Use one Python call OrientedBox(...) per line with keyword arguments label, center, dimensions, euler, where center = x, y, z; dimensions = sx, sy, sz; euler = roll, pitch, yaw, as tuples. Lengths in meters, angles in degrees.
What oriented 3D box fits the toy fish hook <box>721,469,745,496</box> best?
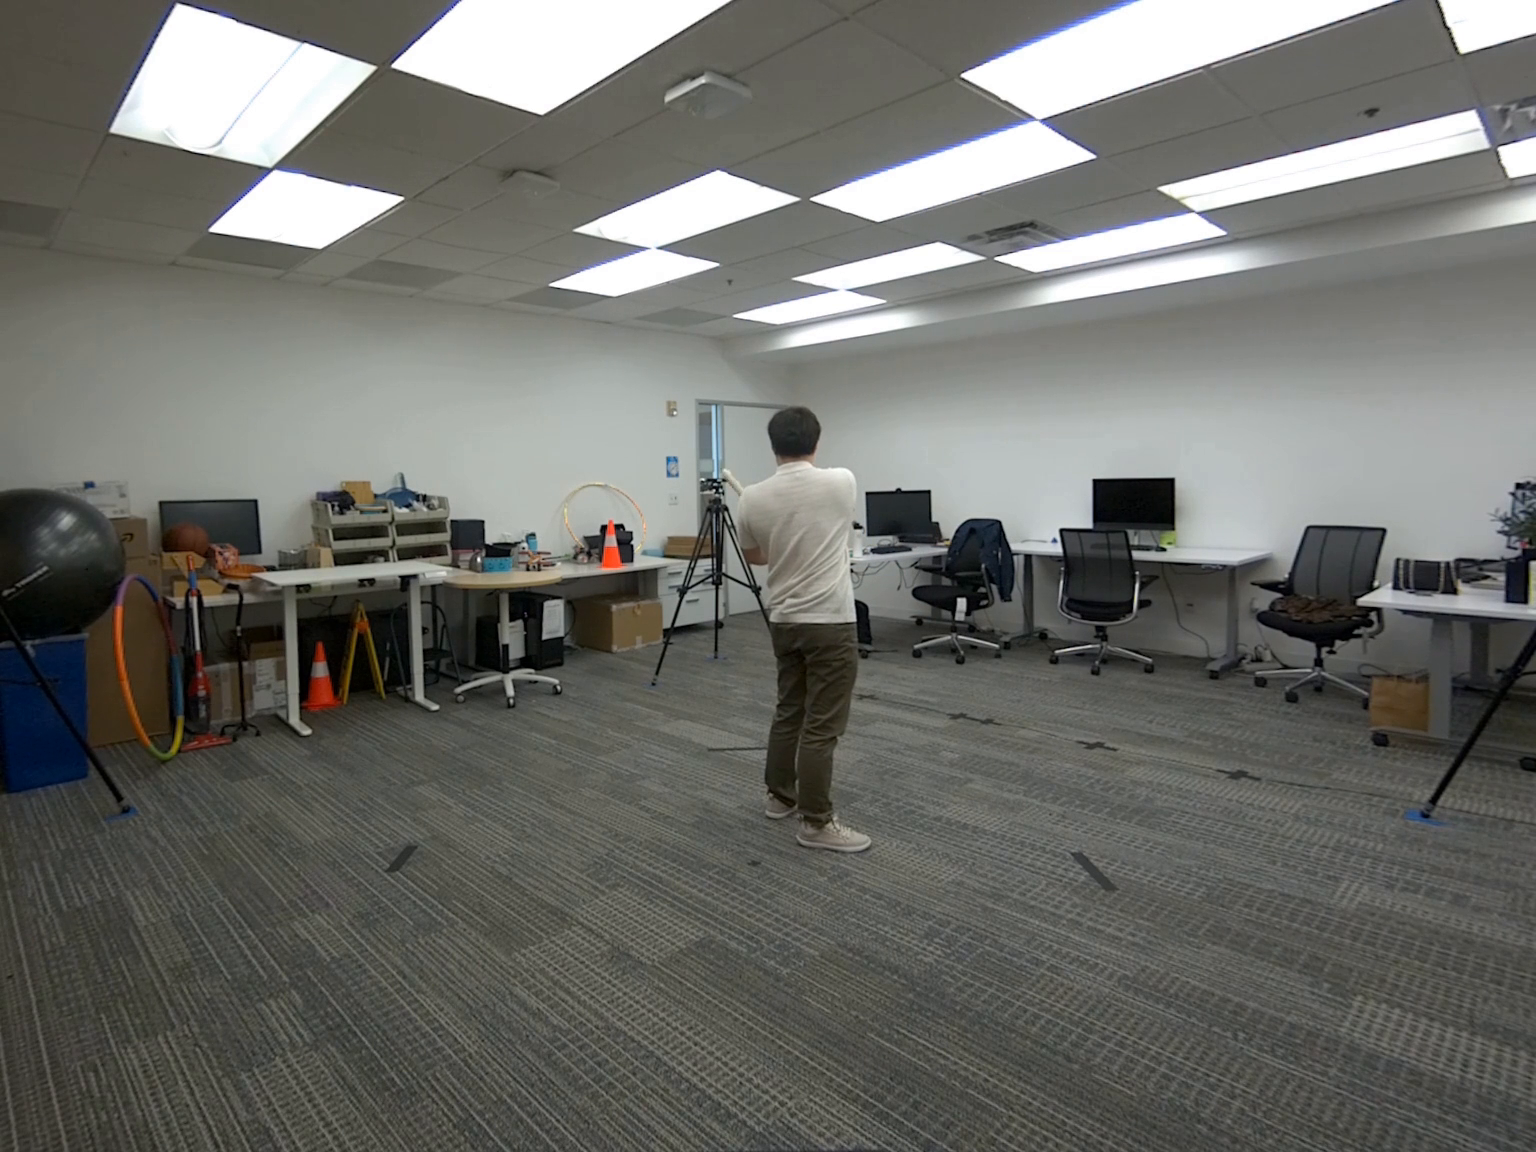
OrientedBox(label="toy fish hook", center=(-0.040, -0.282, 3.867), dimensions=(0.048, 0.517, 0.220), euler=(-37, -16, 4))
